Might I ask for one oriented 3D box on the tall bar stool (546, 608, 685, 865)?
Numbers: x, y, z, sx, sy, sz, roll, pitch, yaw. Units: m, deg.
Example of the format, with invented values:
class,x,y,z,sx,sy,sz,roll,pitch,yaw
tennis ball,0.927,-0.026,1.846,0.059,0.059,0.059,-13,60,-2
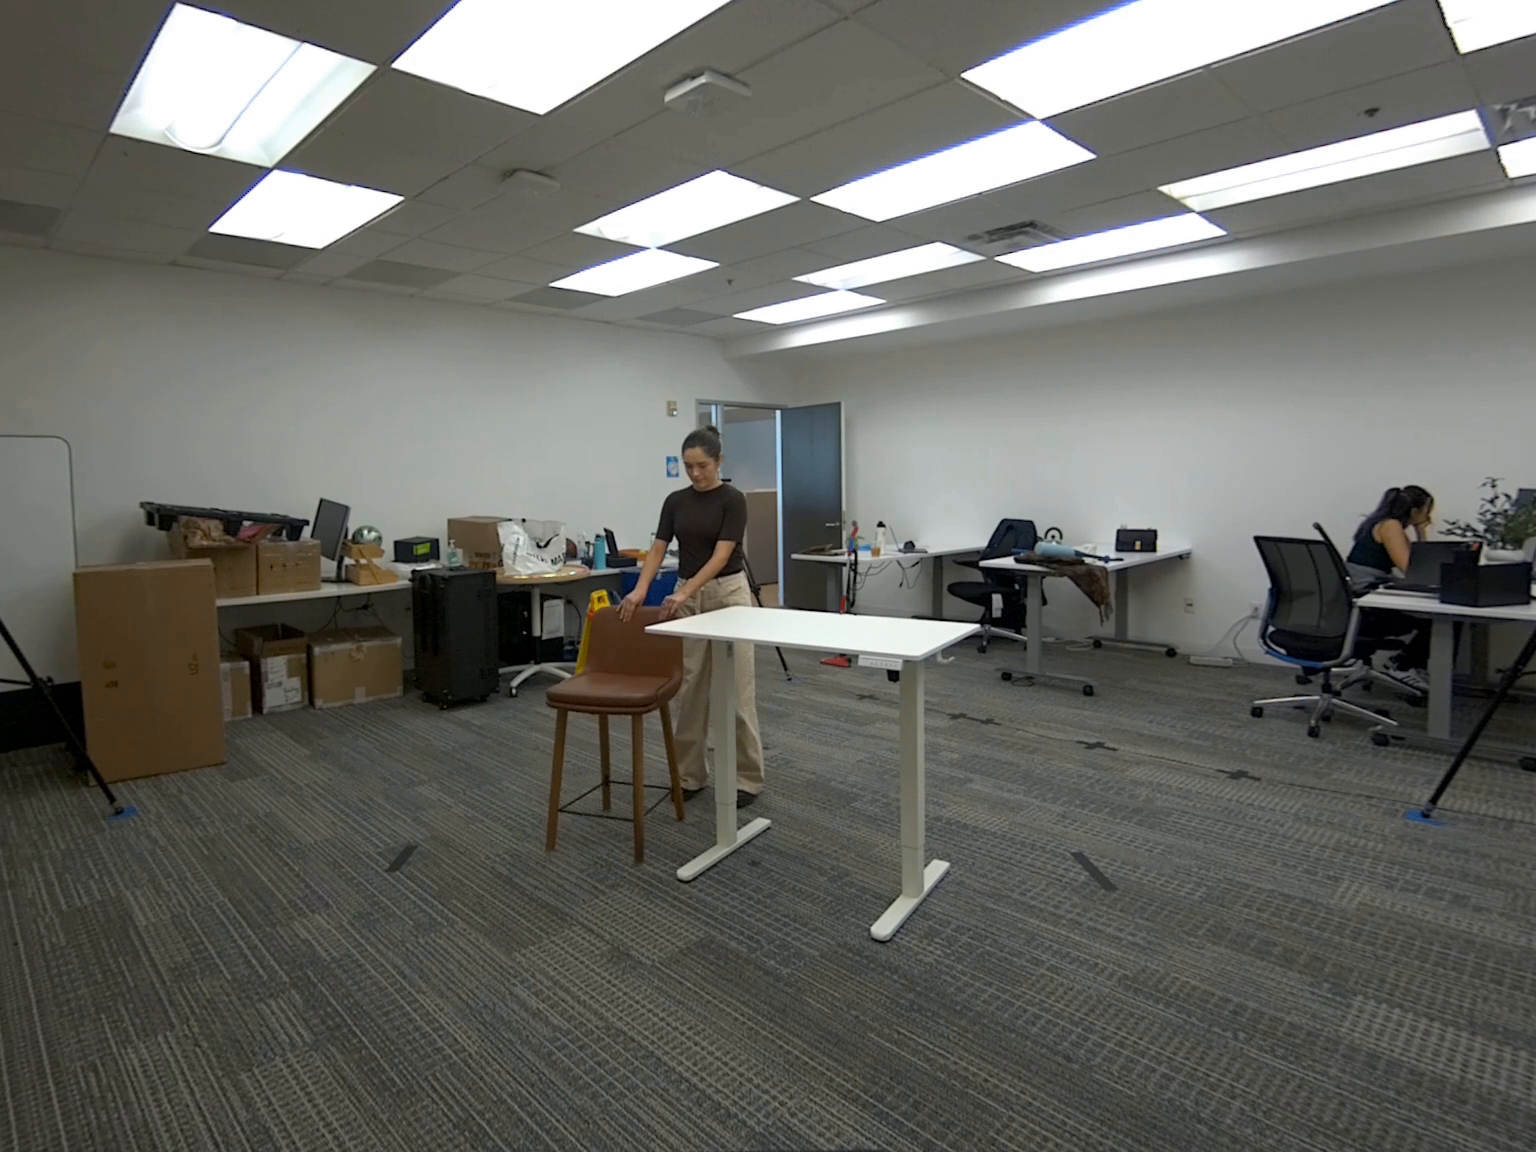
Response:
class,x,y,z,sx,sy,sz,roll,pitch,yaw
tall bar stool,-0.588,0.588,3.369,0.466,0.888,0.459,0,2,21
